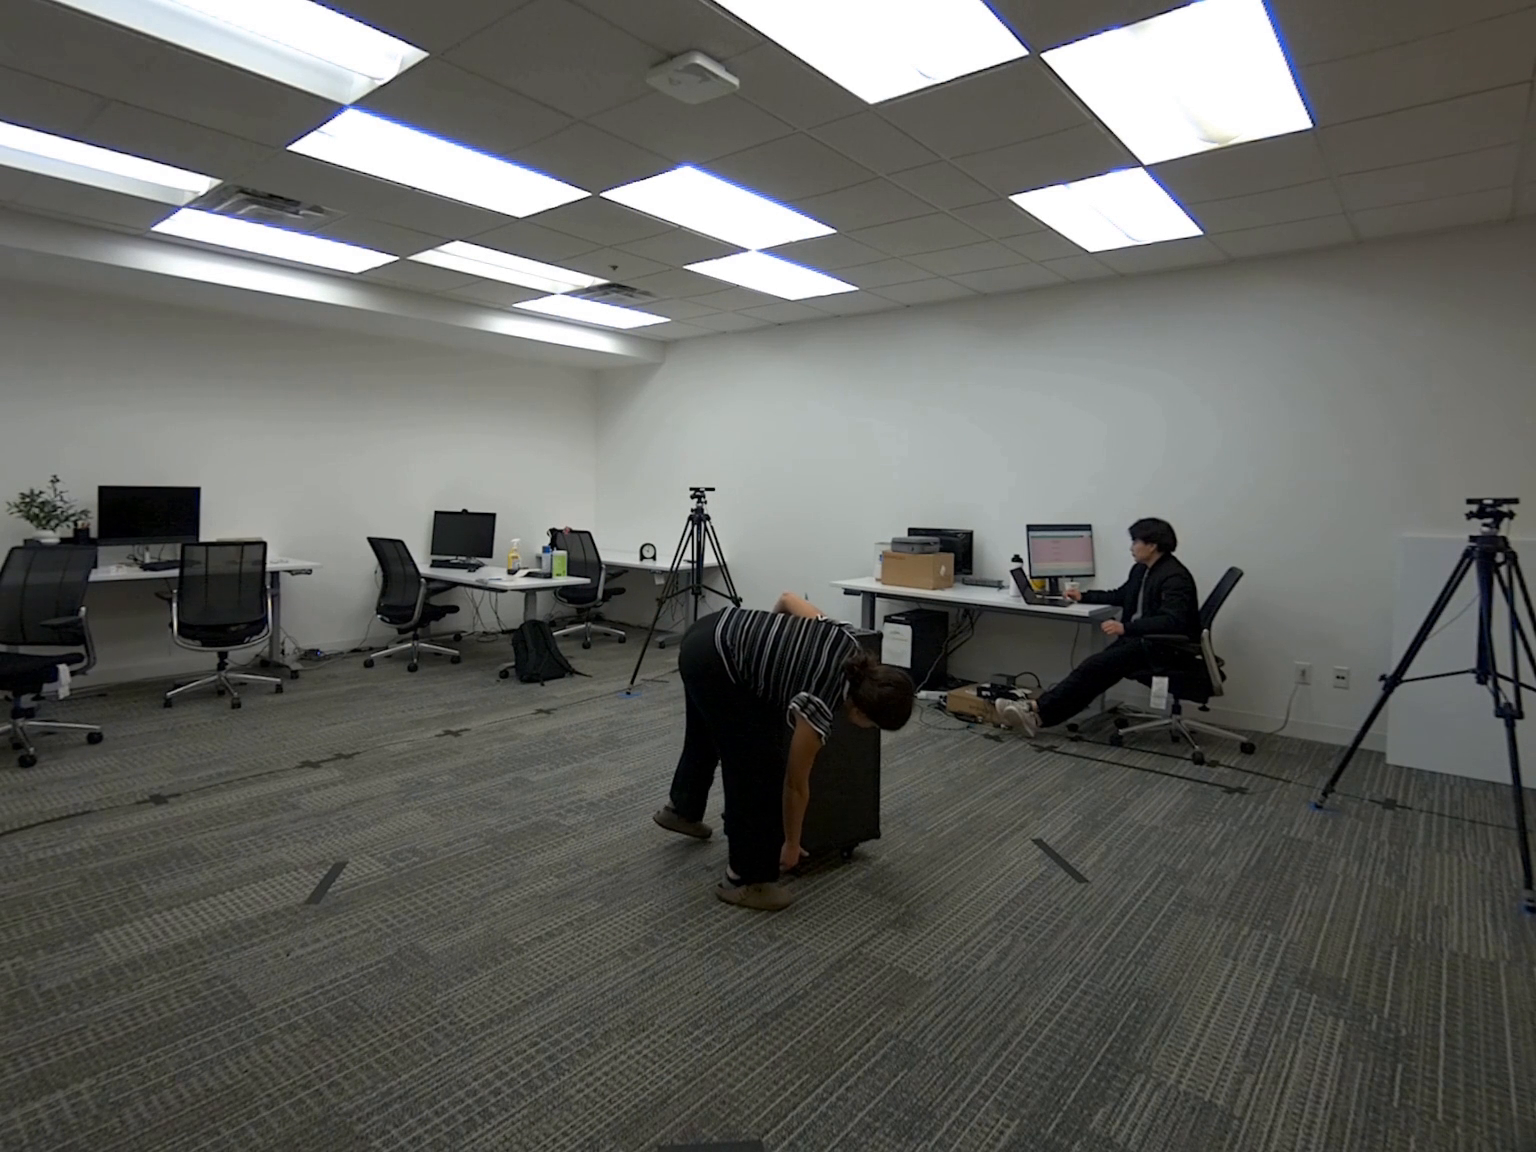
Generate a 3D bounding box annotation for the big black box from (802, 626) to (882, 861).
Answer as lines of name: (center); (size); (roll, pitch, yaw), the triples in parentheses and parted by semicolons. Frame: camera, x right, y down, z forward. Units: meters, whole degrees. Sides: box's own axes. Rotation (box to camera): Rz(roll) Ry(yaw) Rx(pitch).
big black box: (0.116, 0.626, 3.247); (0.506, 0.861, 0.408); (0, 1, -36)
